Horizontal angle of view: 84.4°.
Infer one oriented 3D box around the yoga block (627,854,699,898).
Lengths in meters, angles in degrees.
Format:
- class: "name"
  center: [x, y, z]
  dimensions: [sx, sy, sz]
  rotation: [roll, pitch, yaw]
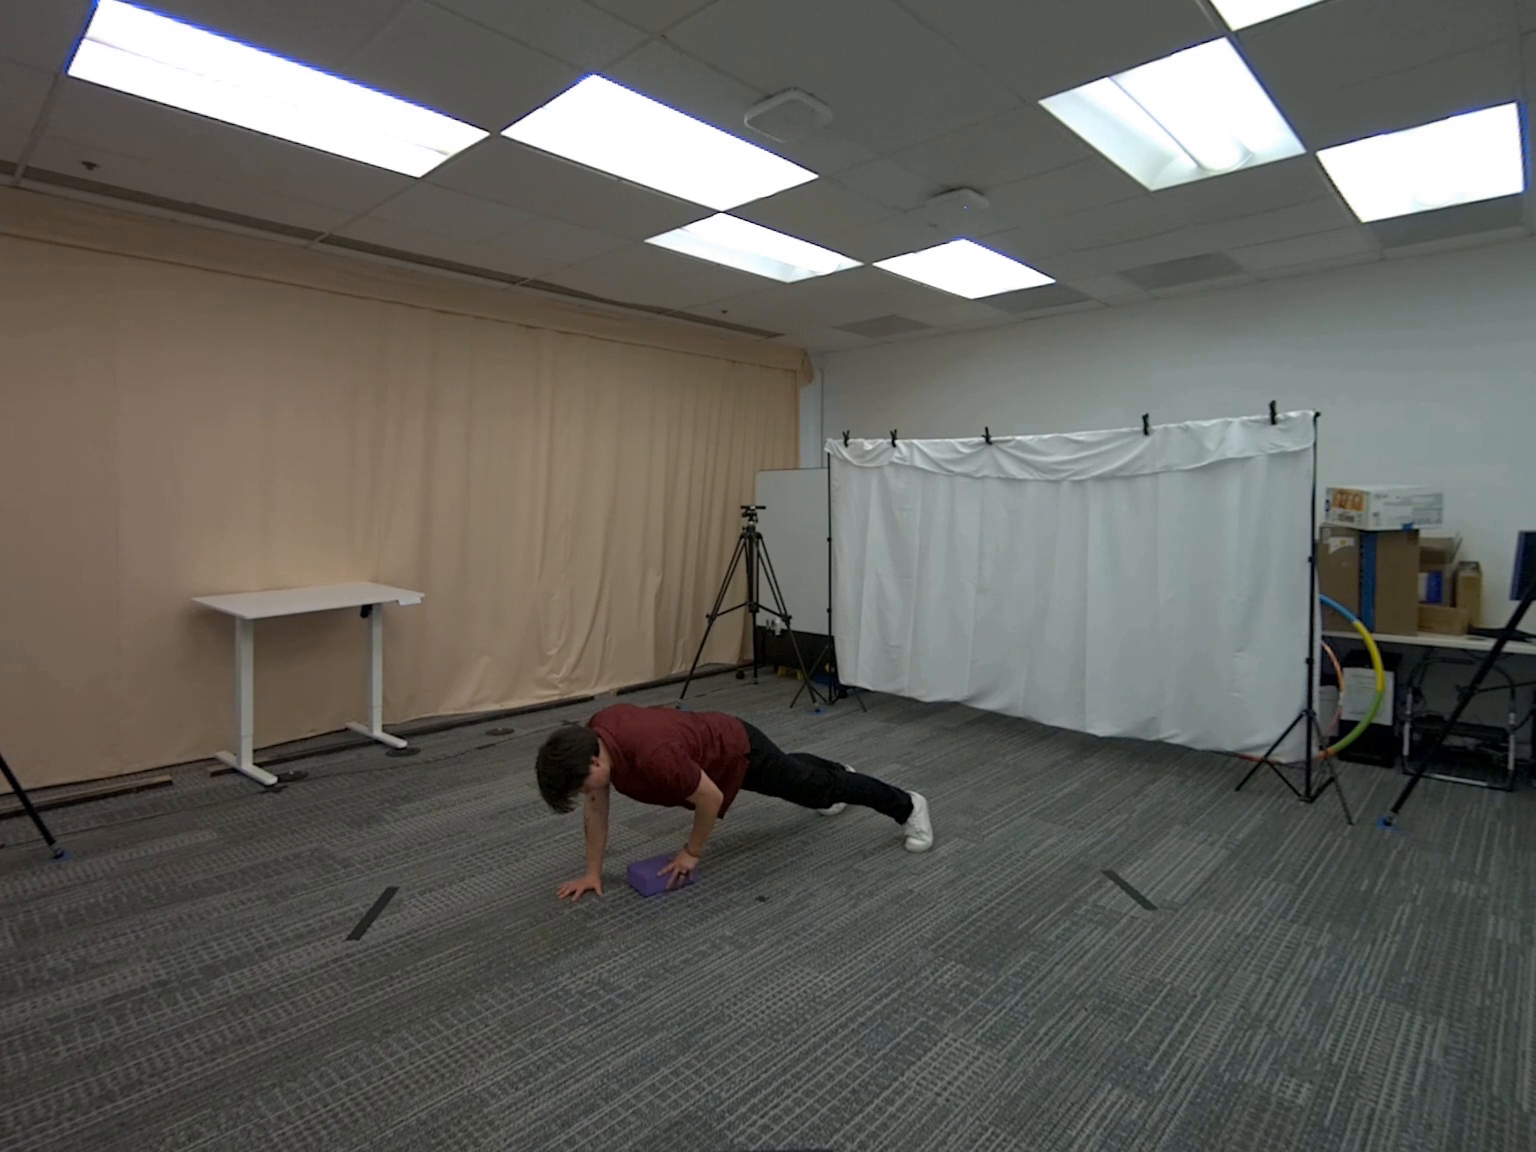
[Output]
- class: "yoga block"
  center: [-0.391, 1.095, 3.110]
  dimensions: [0.223, 0.076, 0.154]
  rotation: [-3, 7, -35]
